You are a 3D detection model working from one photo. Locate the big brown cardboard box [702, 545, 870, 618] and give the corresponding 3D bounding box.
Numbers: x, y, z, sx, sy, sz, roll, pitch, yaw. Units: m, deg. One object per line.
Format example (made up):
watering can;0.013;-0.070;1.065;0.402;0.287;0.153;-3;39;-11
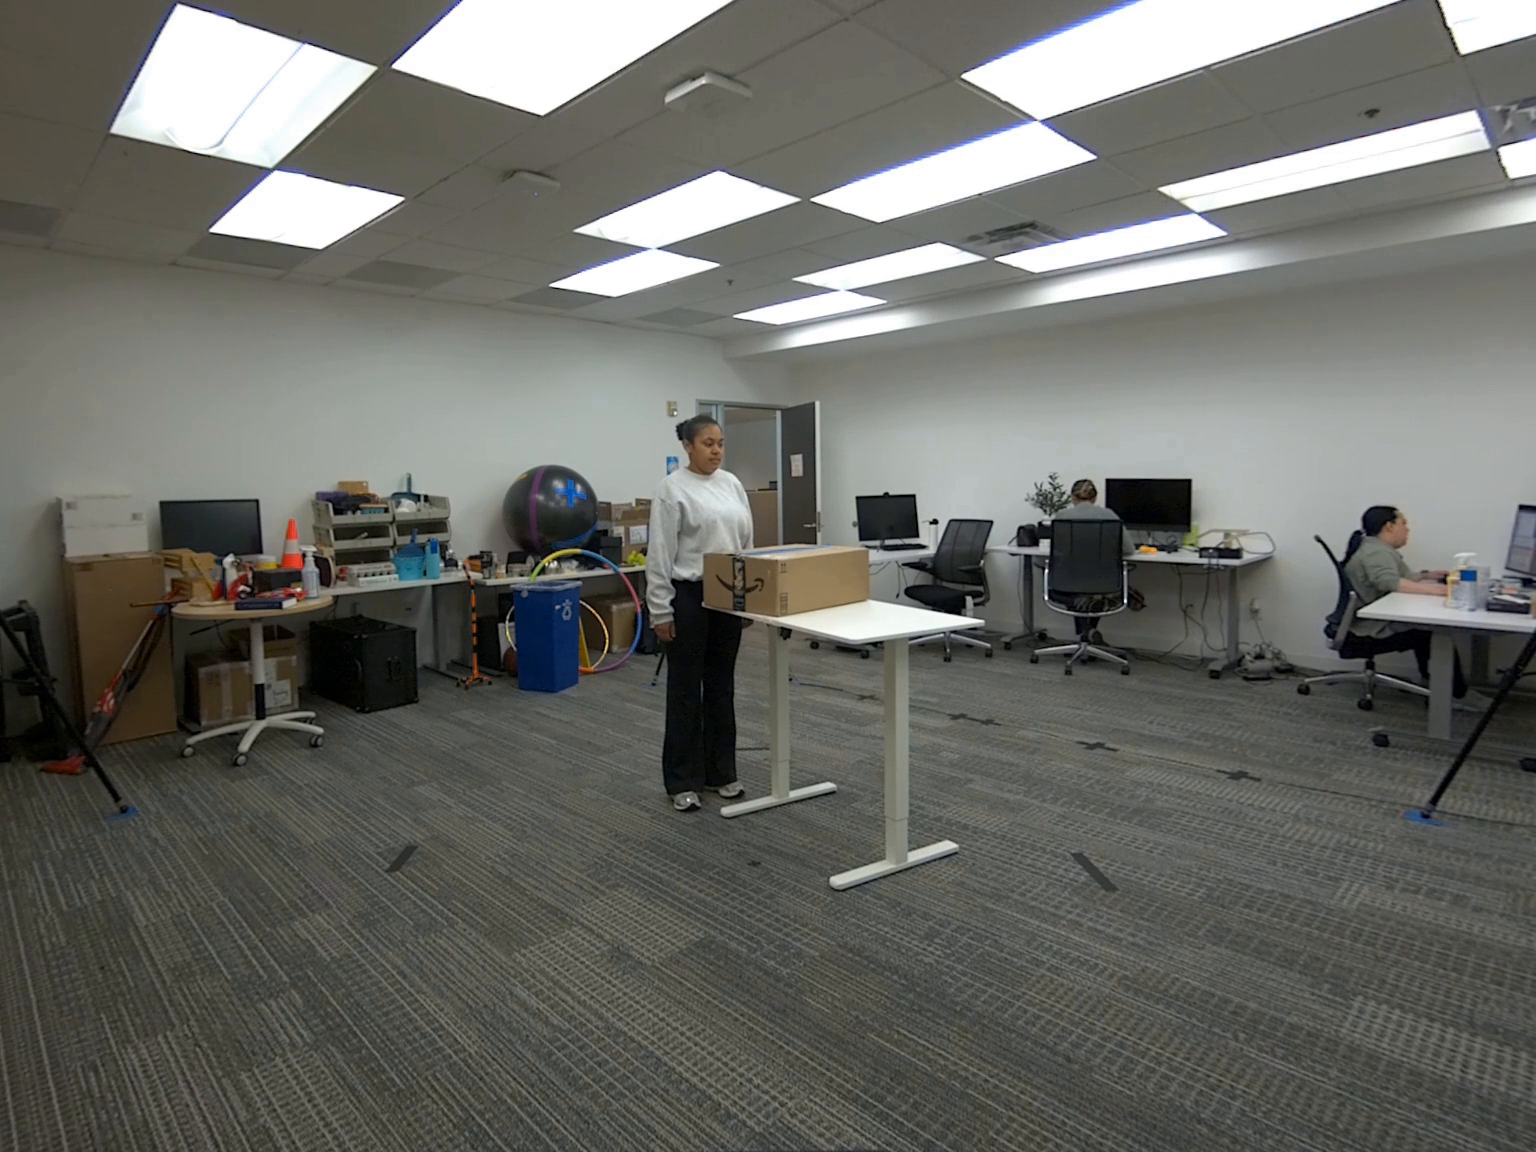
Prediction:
big brown cardboard box;0.072;0.006;3.502;0.573;0.232;0.430;-6;8;-44
